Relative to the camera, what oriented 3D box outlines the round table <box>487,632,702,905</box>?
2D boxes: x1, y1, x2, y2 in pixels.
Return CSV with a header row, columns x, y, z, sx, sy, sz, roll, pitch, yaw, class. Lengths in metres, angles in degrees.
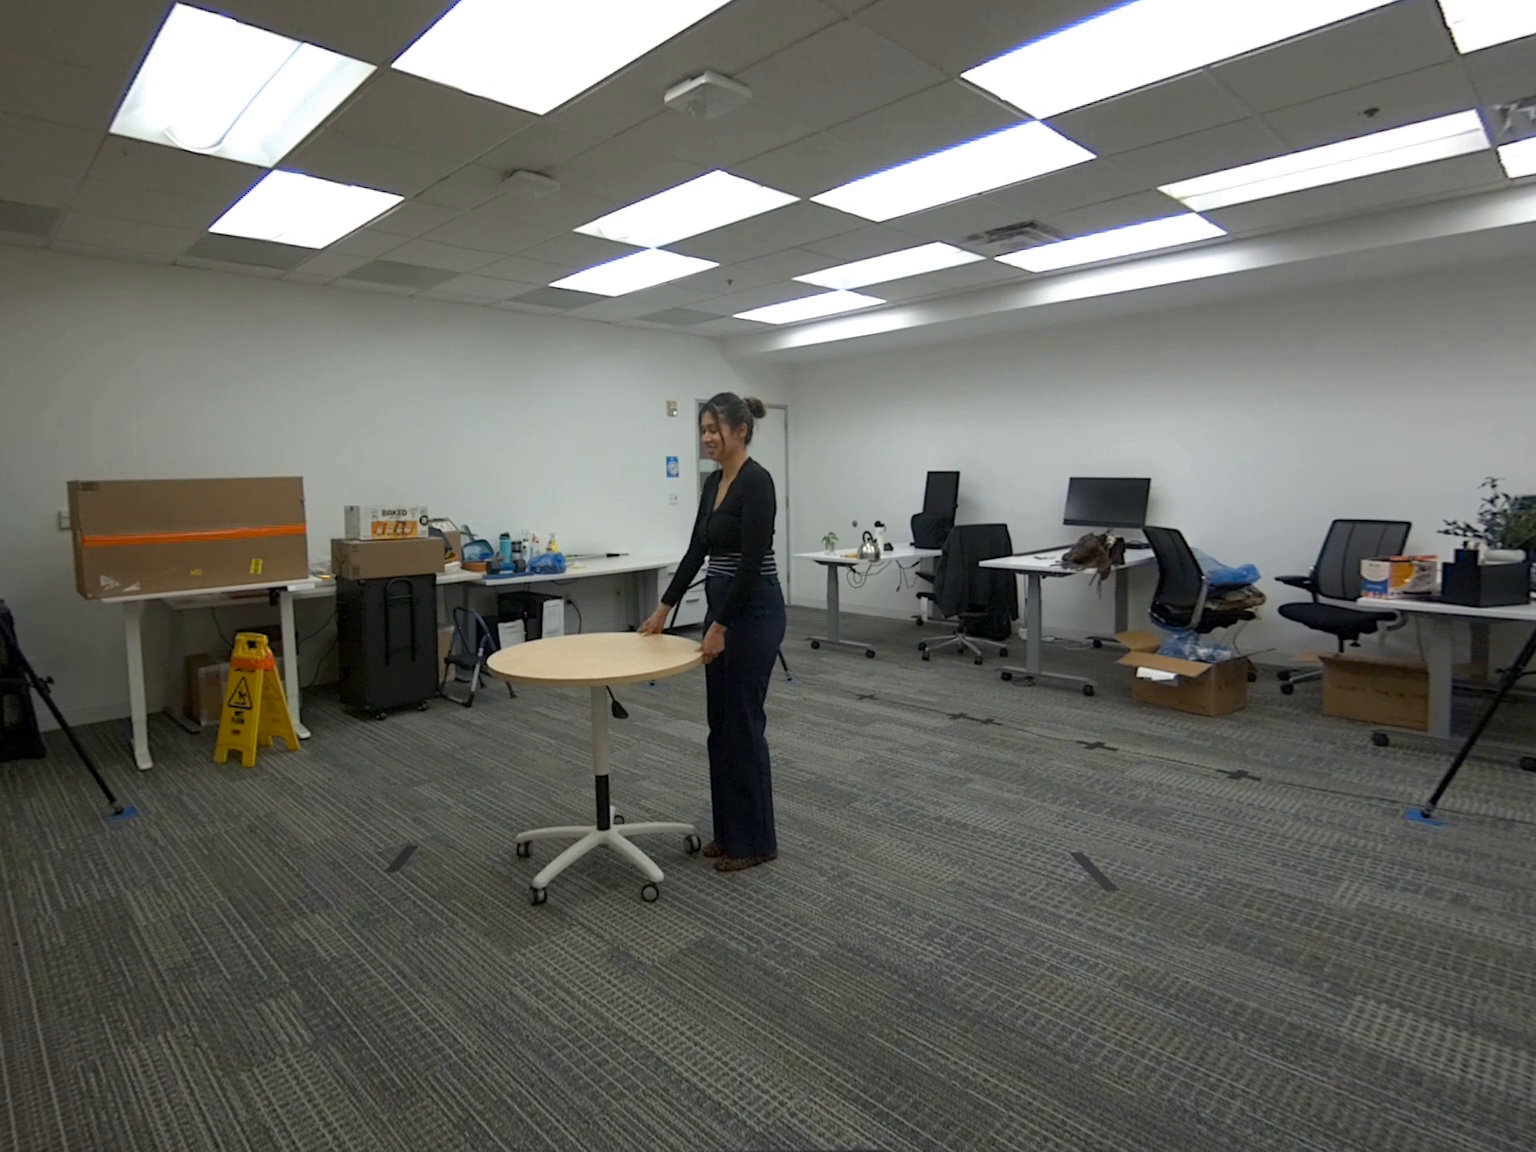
x,y,z,sx,sy,sz,roll,pitch,yaw,class
-0.598,0.667,3.087,0.763,0.790,0.768,-2,5,-2,round table
